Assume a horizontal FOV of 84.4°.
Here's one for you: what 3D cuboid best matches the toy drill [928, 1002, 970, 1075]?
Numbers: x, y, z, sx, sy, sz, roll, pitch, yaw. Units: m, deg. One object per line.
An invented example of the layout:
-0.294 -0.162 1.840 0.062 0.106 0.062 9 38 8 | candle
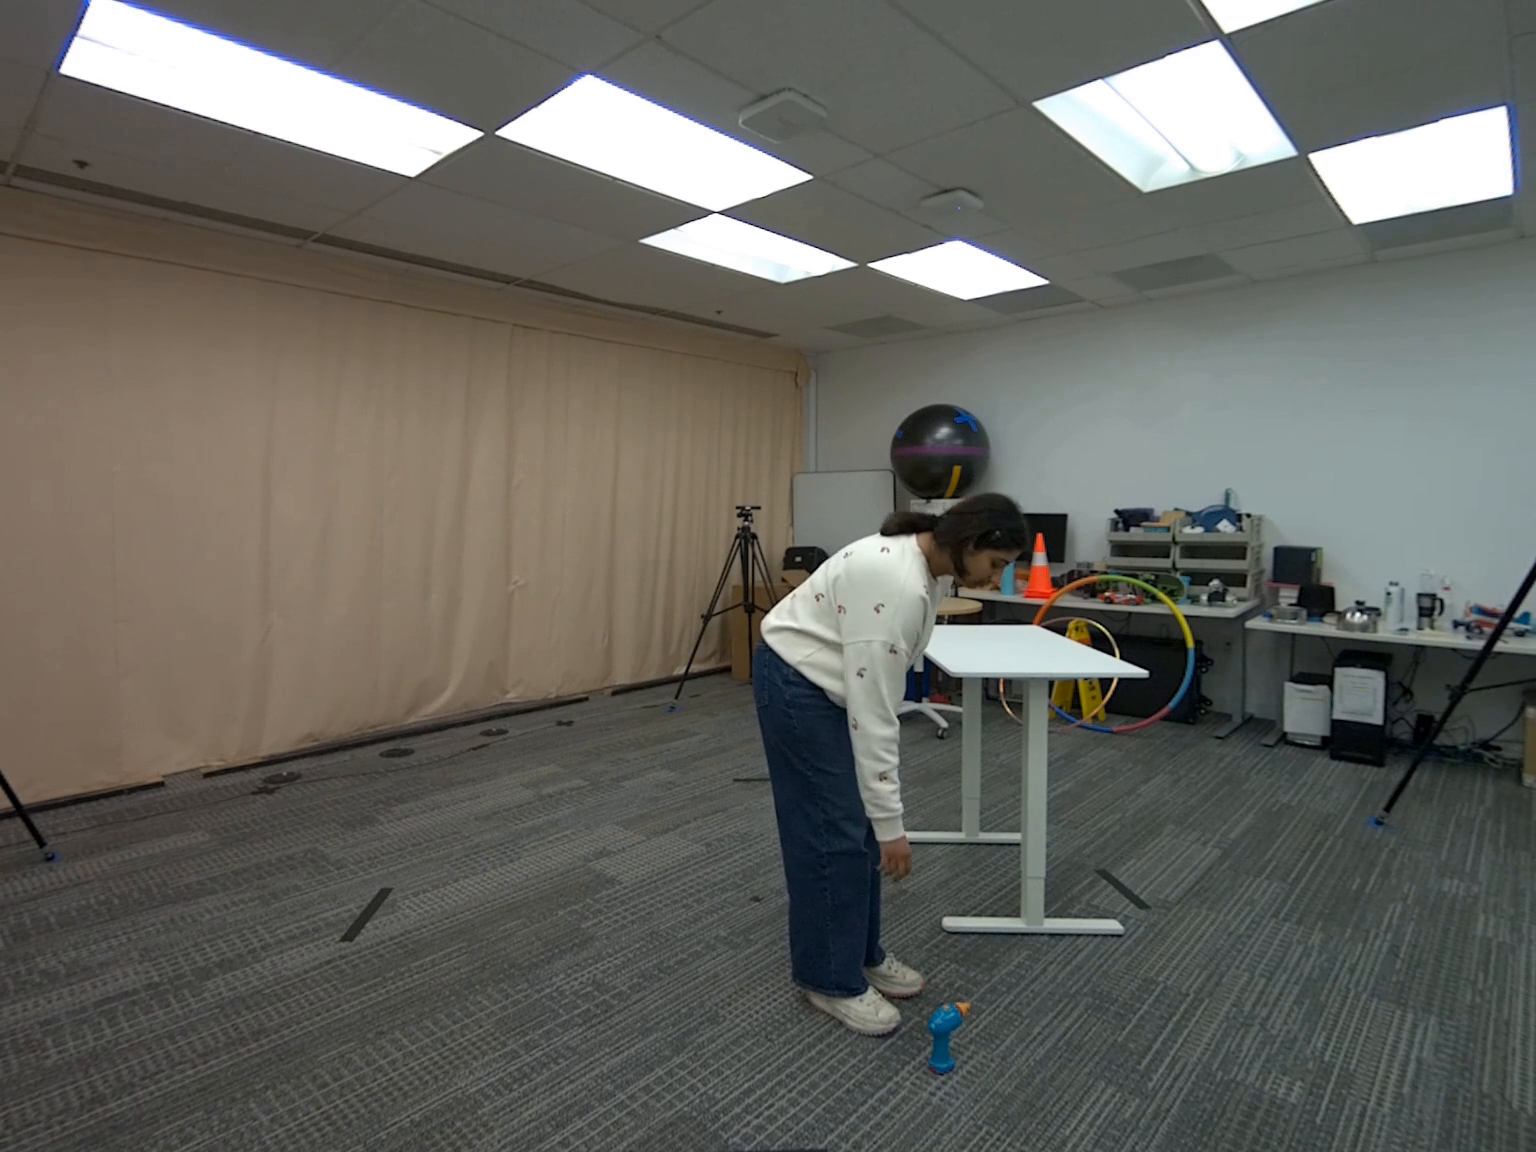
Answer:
0.467 1.146 2.108 0.164 0.145 0.063 -4 6 -44 | toy drill
